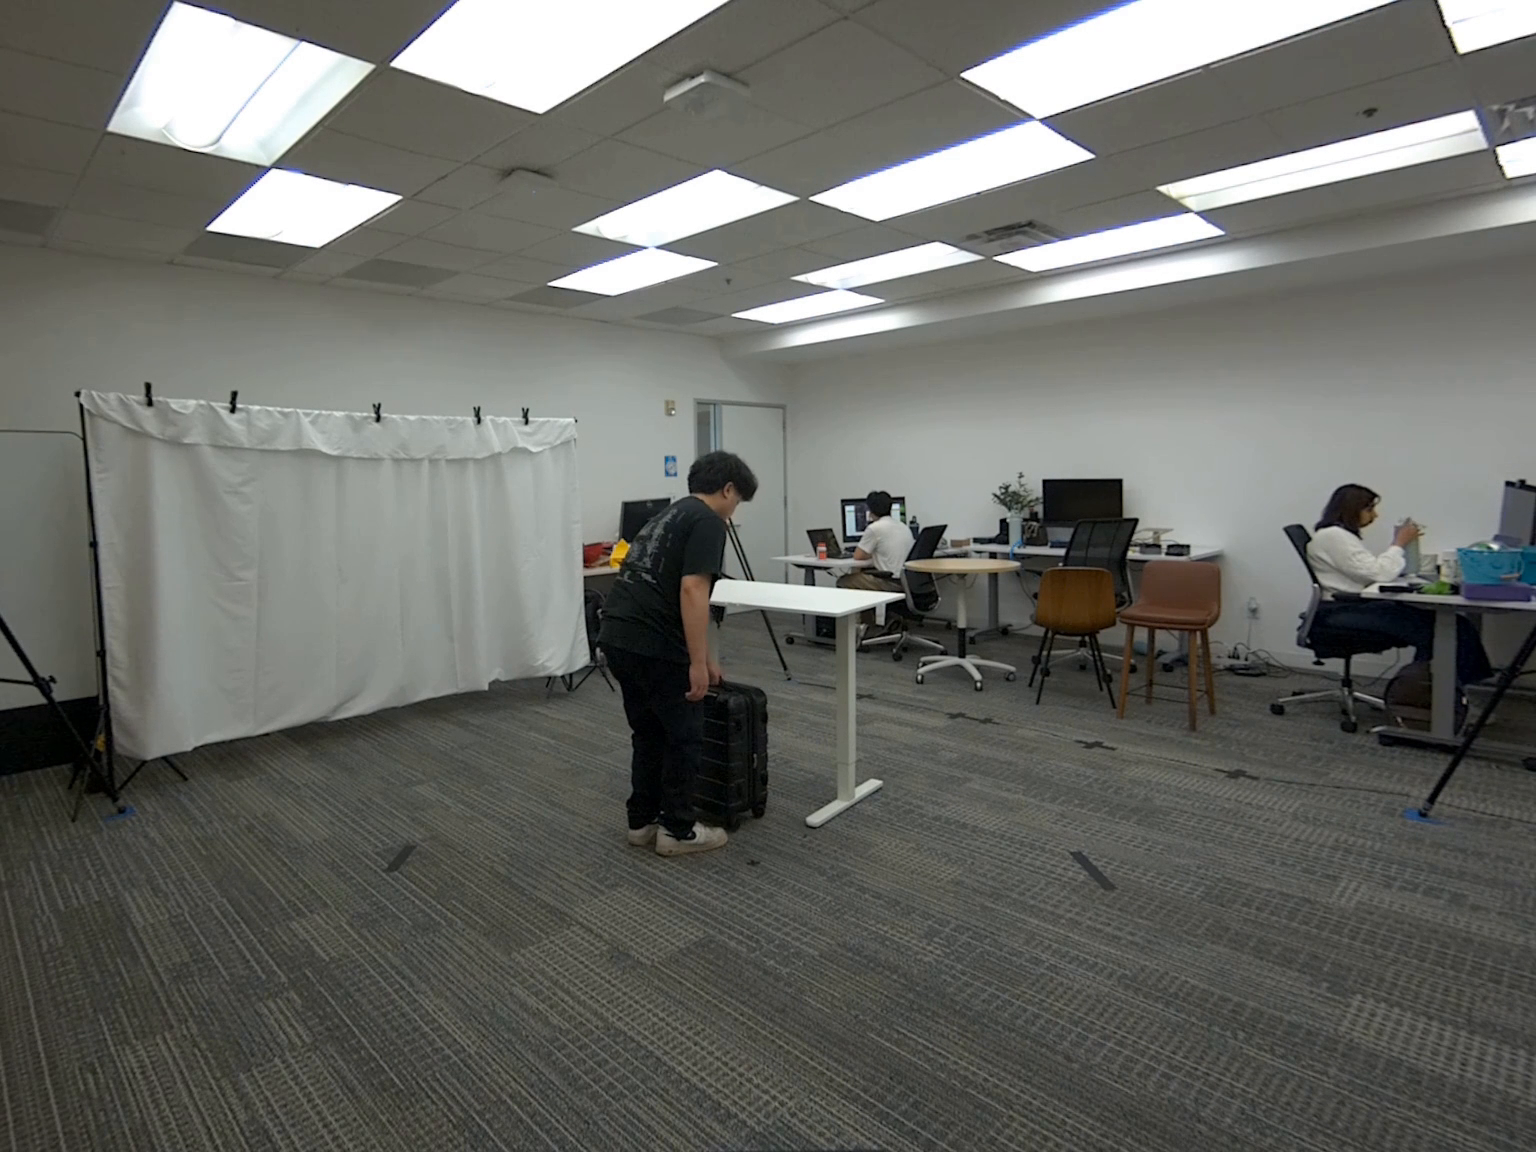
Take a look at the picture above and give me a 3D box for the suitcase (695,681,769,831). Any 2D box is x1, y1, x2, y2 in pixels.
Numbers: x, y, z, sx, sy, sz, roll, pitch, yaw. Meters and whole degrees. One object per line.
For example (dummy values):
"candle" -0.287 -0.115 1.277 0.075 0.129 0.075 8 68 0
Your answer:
"suitcase" -0.191 0.708 3.537 0.387 0.548 0.241 2 3 40
